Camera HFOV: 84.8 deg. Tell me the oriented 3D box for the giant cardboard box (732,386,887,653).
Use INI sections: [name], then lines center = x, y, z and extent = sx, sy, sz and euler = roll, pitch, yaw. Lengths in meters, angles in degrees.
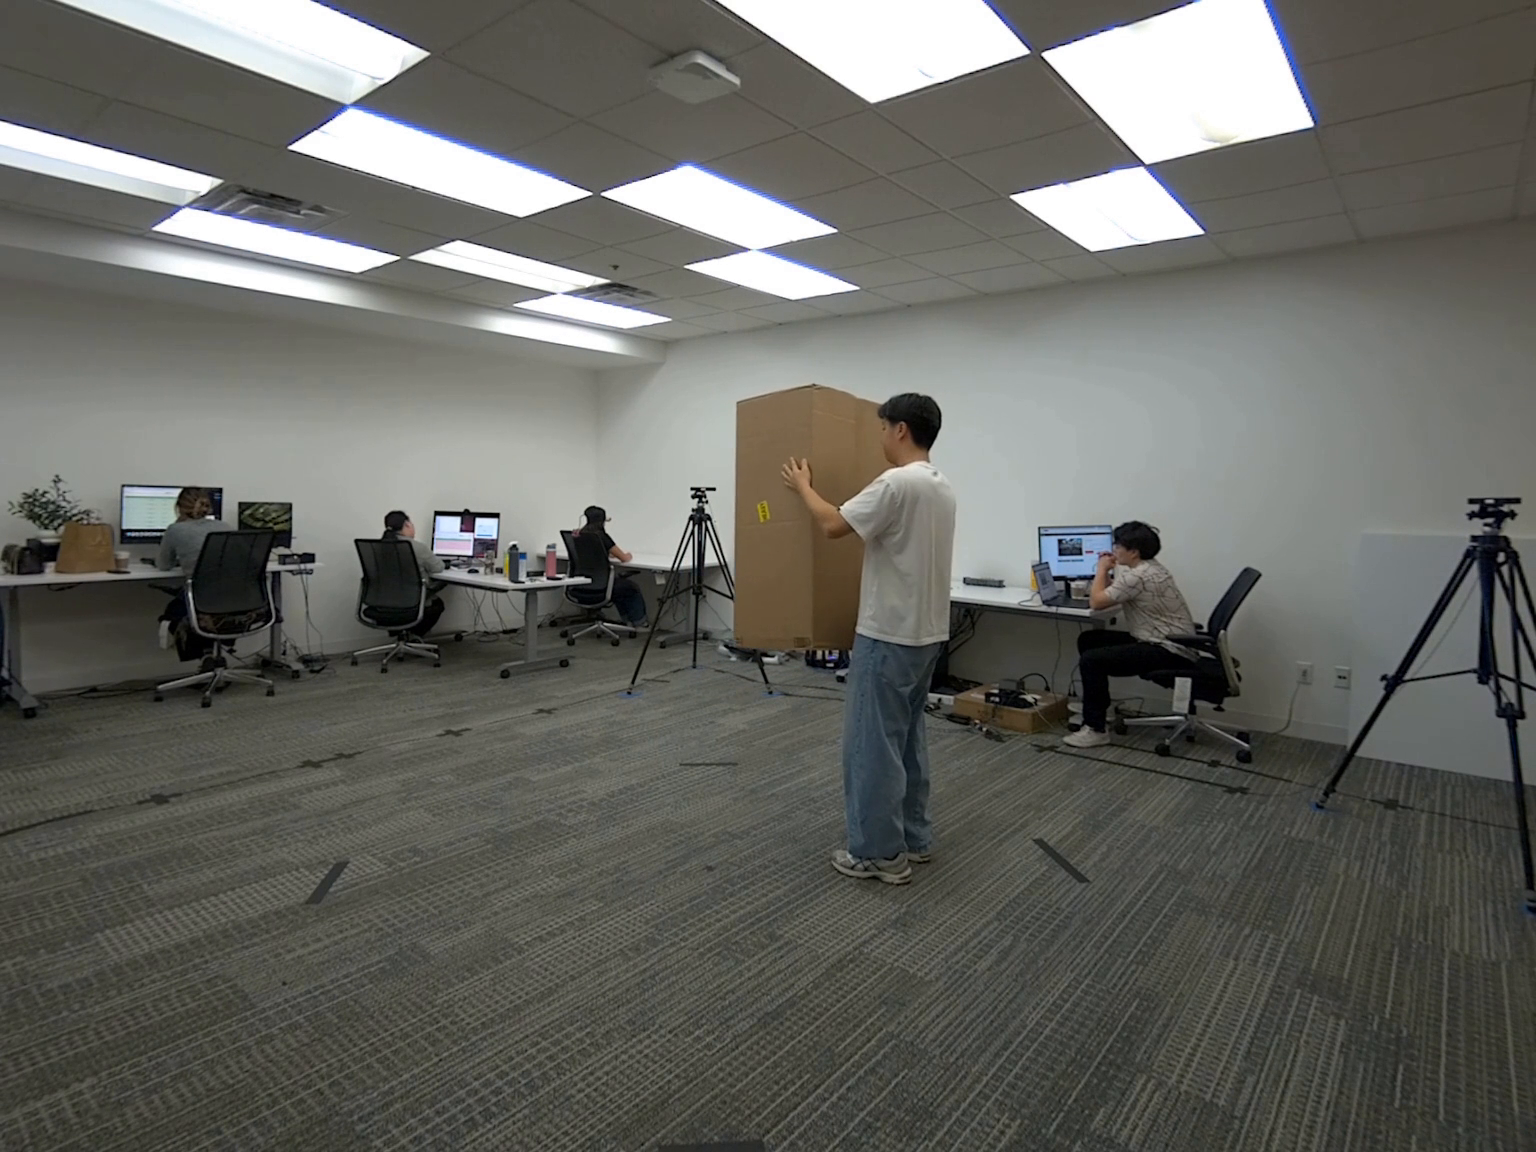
[giant cardboard box]
center = 0.199, -0.215, 3.558
extent = 0.439, 1.031, 0.558
euler = -5, -7, 44
